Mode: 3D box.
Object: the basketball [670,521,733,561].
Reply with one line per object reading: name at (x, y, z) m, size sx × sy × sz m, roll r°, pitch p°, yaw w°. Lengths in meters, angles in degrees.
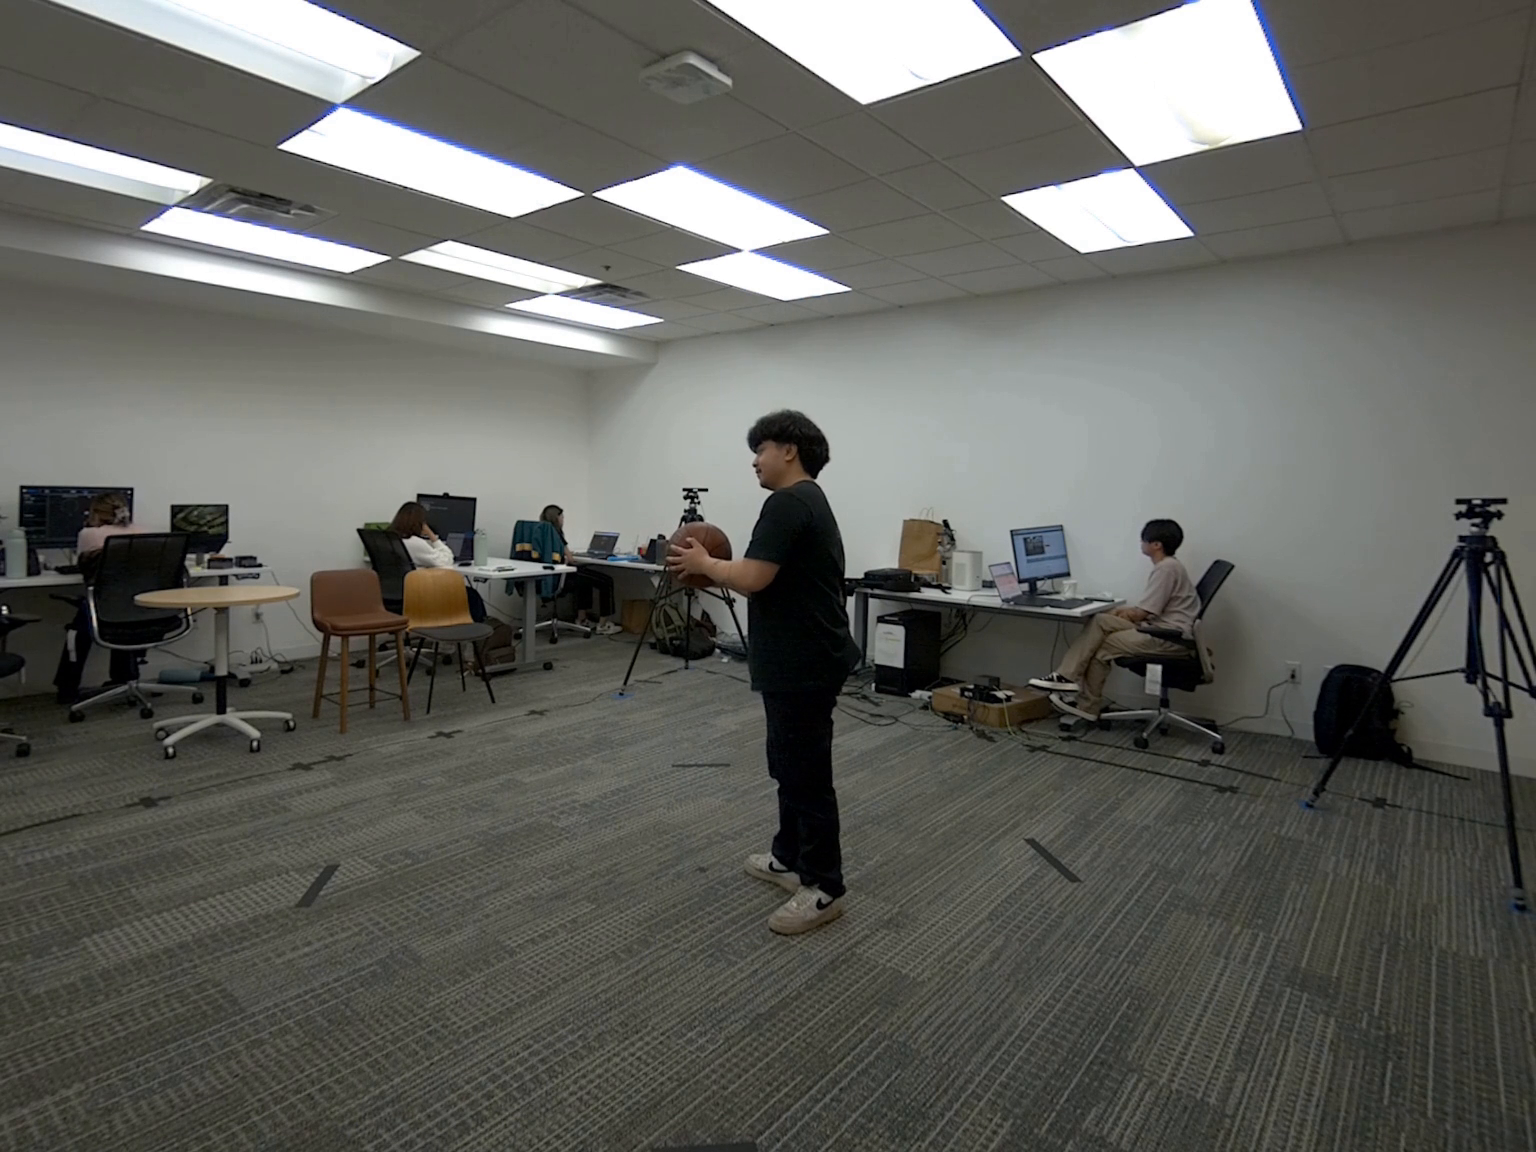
basketball at (-0.255, -0.077, 3.024) m, size 0.235 × 0.235 × 0.237 m, roll 1°, pitch 4°, yaw -2°
